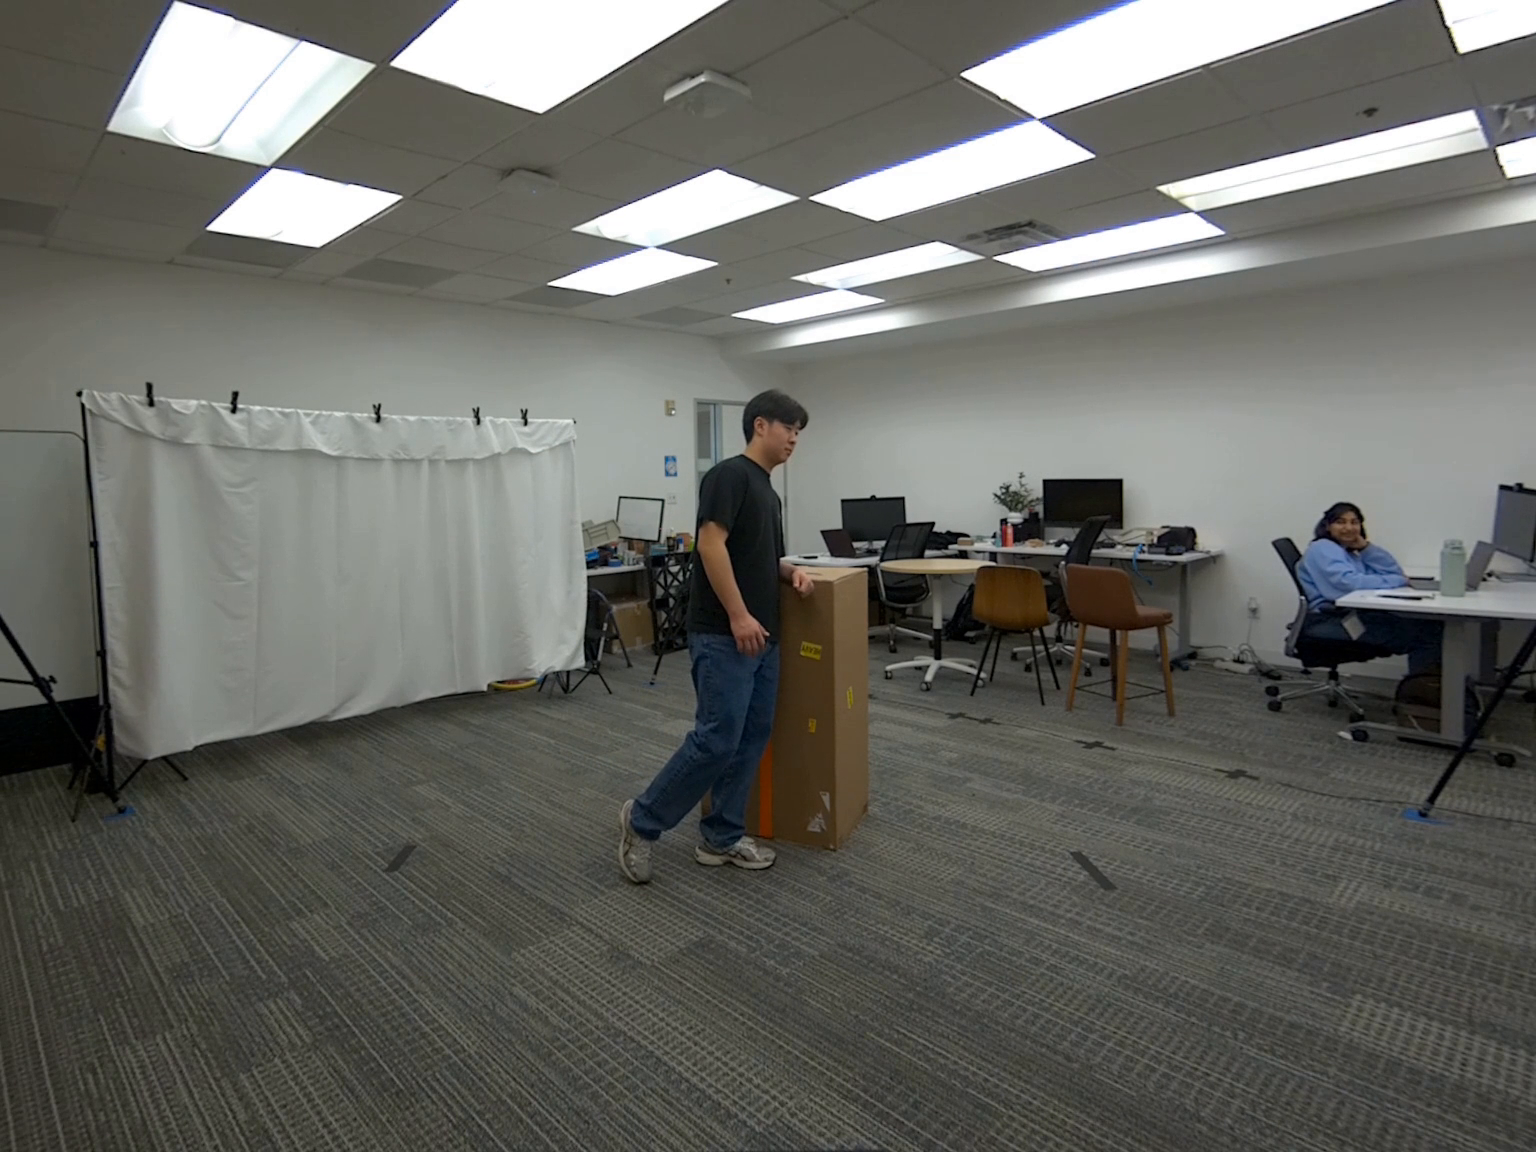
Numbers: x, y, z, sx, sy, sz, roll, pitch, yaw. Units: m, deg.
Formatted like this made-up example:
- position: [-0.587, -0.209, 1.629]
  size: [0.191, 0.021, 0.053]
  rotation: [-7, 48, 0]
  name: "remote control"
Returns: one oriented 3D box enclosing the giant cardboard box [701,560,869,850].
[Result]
- position: [0.075, 0.486, 3.476]
  size: [0.598, 1.023, 0.438]
  rotation: [2, 5, 27]
  name: "giant cardboard box"
